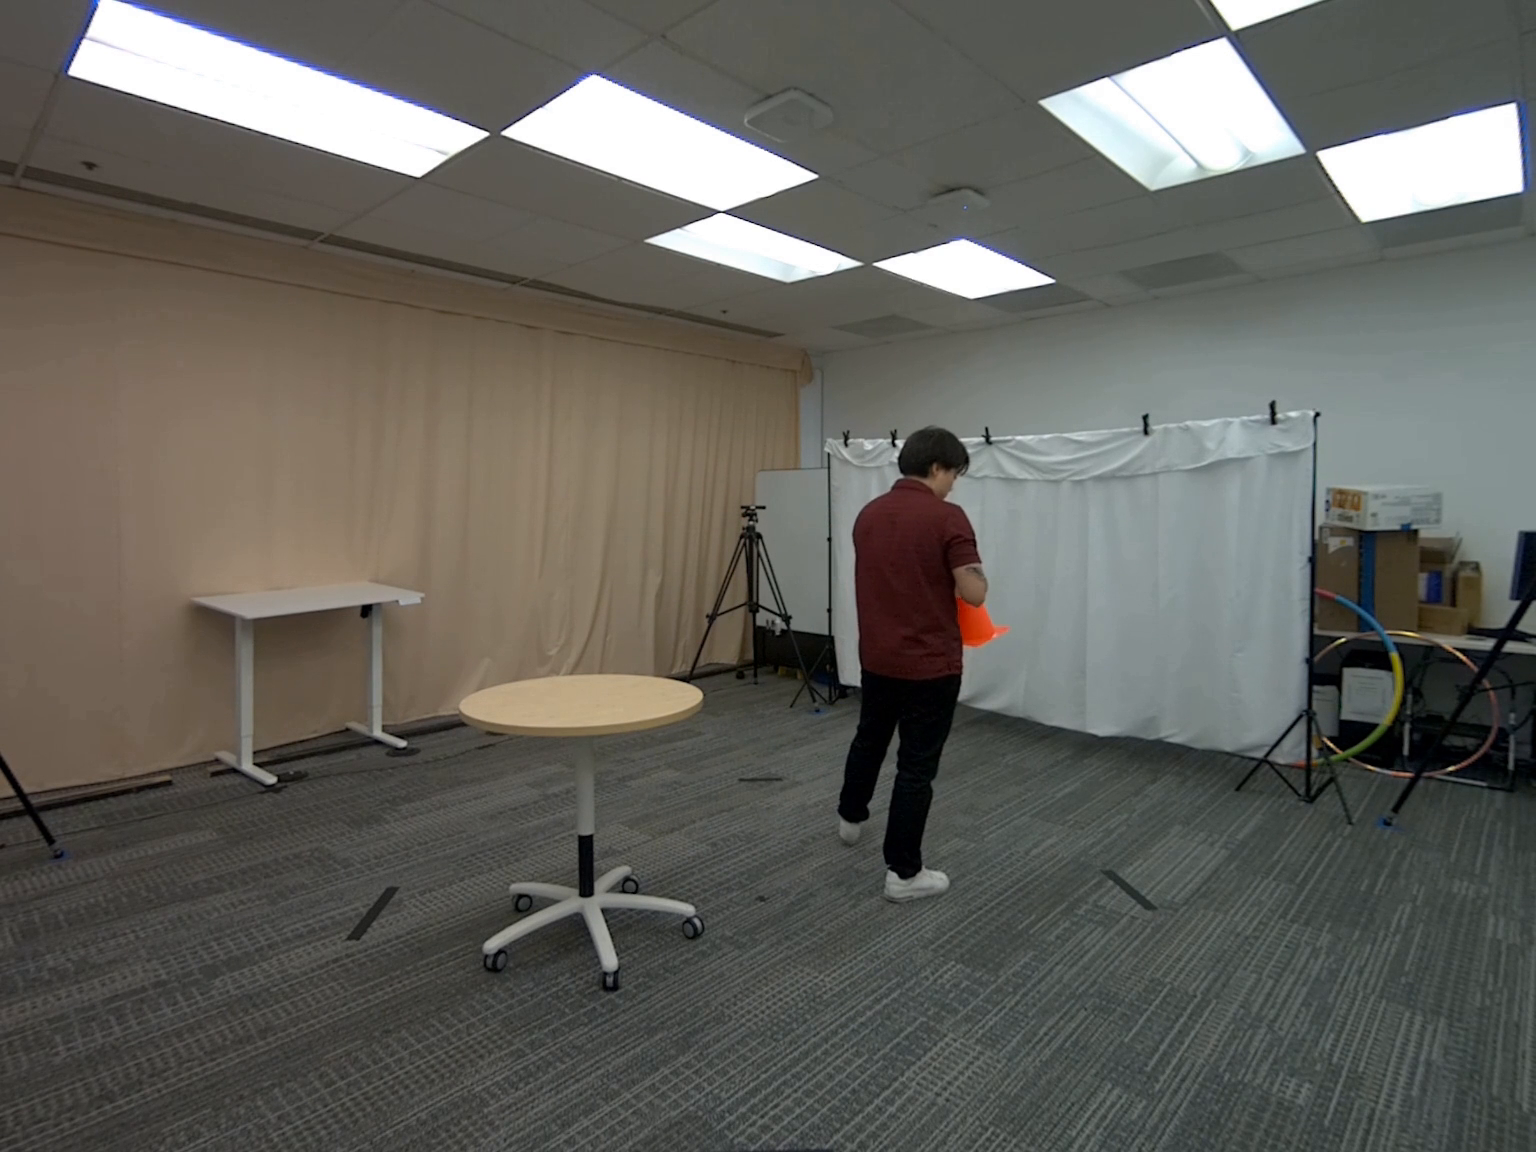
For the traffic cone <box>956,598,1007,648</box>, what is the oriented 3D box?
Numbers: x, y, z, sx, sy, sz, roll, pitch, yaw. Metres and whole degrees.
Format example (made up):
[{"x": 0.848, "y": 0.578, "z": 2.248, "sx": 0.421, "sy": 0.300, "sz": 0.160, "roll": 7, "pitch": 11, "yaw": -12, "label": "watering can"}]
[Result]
[{"x": 0.733, "y": 0.049, "z": 3.146, "sx": 0.203, "sy": 0.382, "sz": 0.206, "roll": -15, "pitch": 5, "yaw": -4, "label": "traffic cone"}]
